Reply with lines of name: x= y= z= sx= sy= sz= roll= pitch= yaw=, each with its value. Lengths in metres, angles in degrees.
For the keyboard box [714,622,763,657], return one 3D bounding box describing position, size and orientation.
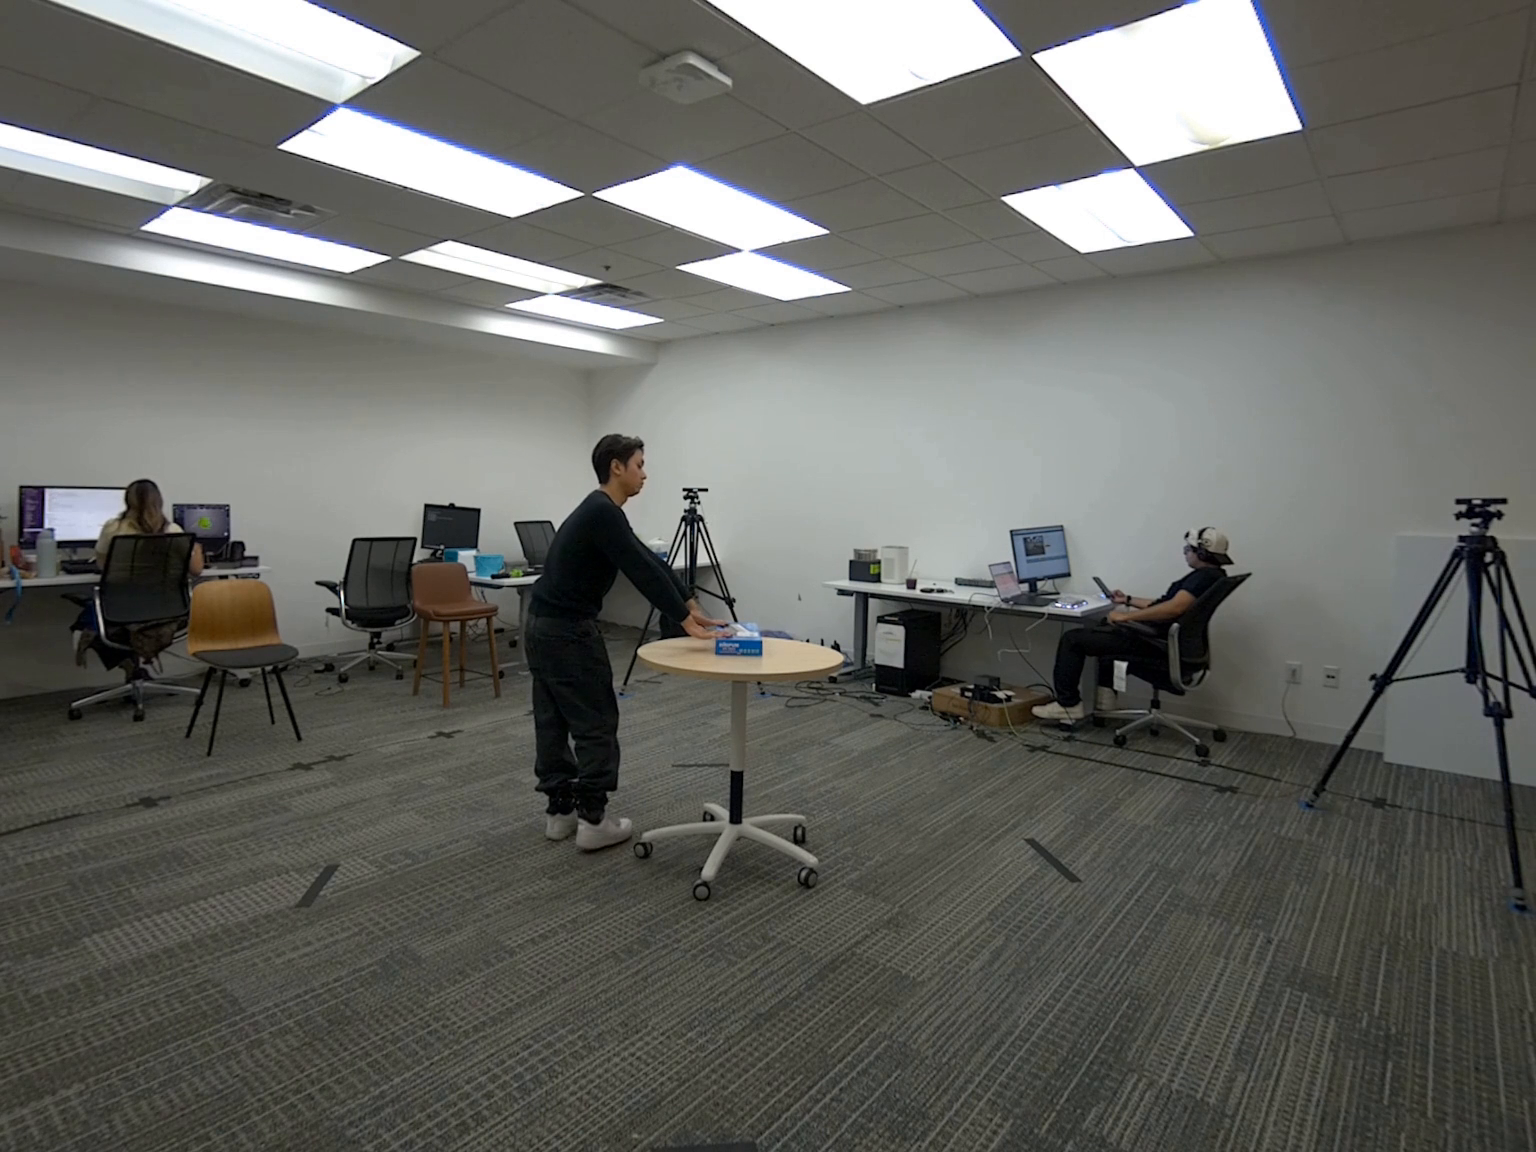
keyboard box: x=-0.128 y=0.241 z=3.329 sx=0.175 sy=0.059 sz=0.439 roll=-1 pitch=6 yaw=-4
